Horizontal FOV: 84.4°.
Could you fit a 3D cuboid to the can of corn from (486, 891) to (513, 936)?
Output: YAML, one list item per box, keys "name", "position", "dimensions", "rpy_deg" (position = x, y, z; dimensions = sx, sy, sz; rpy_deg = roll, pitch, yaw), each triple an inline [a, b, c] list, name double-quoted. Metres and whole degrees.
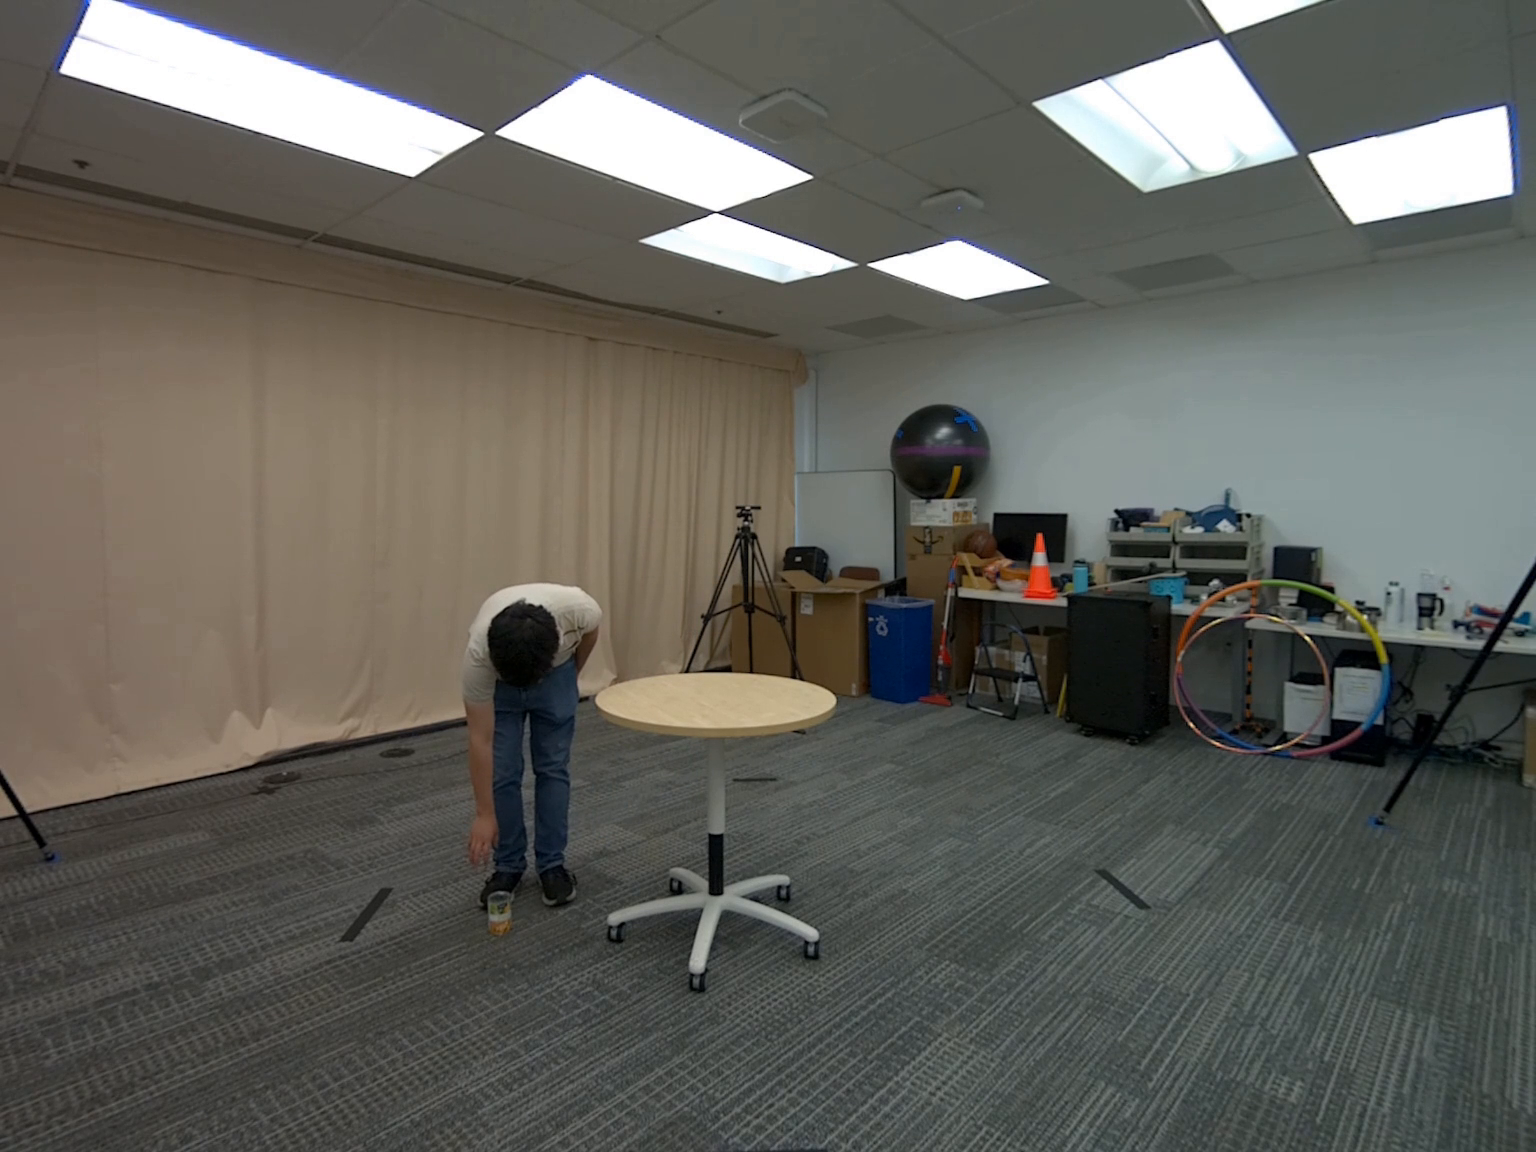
- name: "can of corn"
  position: [-0.886, 1.108, 2.777]
  dimensions: [0.074, 0.111, 0.074]
  rpy_deg: [-2, 2, -2]
